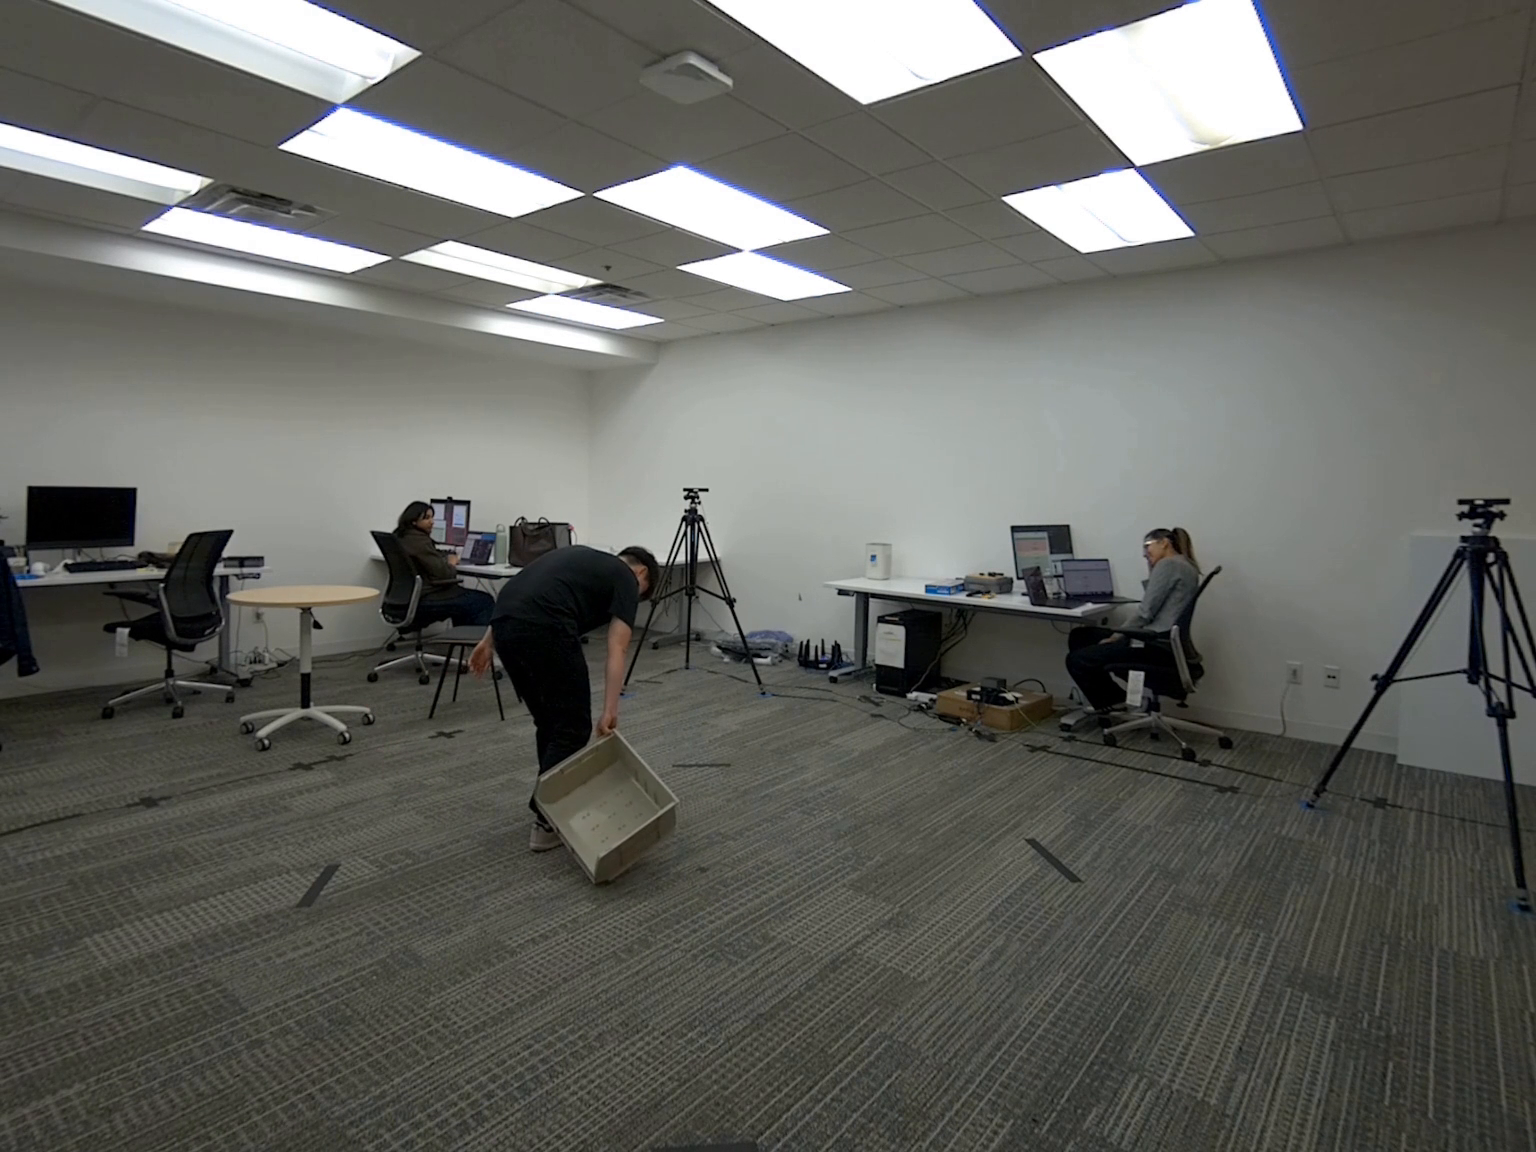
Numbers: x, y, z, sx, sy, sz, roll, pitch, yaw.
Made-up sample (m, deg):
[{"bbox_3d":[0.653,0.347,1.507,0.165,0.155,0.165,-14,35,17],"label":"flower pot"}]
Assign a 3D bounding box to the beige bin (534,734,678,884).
[{"bbox_3d":[-0.605,0.848,3.131,0.372,0.184,0.440,-28,47,-30],"label":"beige bin"}]
